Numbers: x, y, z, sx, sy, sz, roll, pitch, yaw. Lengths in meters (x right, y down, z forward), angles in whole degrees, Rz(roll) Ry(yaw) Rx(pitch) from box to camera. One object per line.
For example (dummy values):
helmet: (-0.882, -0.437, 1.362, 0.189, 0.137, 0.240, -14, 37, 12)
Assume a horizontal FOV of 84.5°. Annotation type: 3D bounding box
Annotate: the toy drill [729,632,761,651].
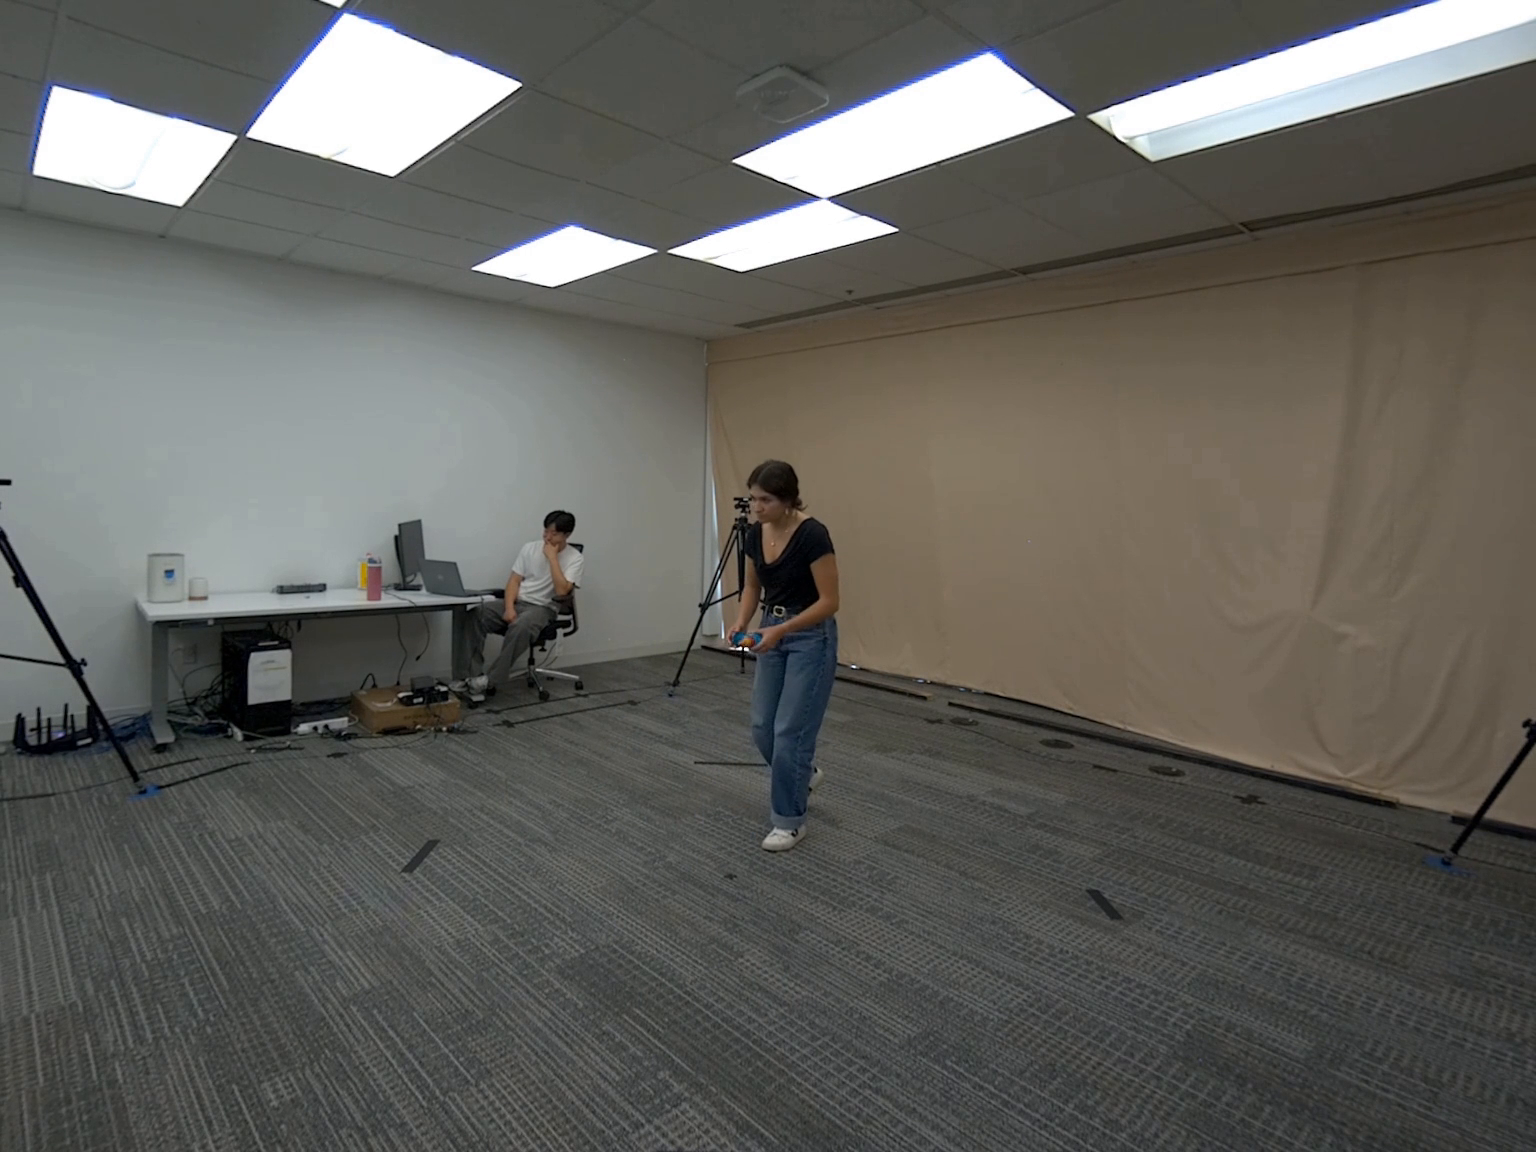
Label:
toy drill: (-0.079, 0.266, 3.259, 0.149, 0.061, 0.166, 3, 5, 41)
